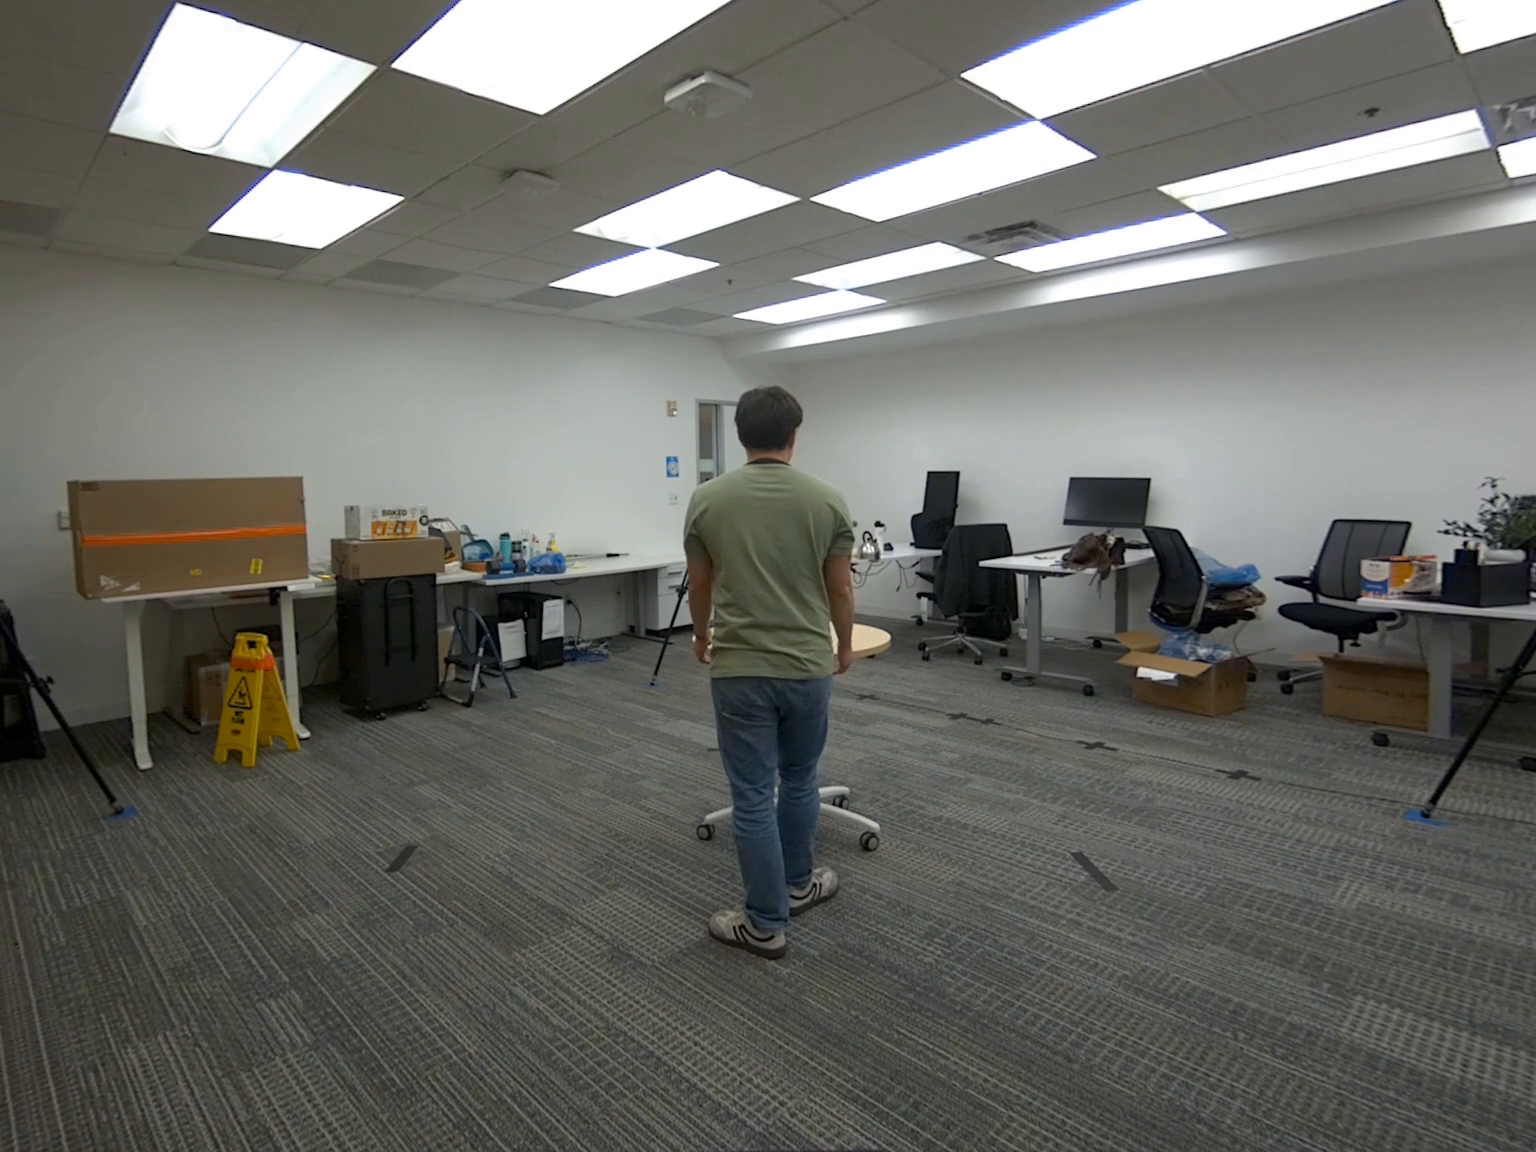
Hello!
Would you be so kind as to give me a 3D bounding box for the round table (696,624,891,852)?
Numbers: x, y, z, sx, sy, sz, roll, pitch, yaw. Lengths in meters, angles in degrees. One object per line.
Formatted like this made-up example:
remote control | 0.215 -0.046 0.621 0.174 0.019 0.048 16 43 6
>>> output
round table | 0.099 0.629 3.348 0.763 0.791 0.768 -1 5 -2
